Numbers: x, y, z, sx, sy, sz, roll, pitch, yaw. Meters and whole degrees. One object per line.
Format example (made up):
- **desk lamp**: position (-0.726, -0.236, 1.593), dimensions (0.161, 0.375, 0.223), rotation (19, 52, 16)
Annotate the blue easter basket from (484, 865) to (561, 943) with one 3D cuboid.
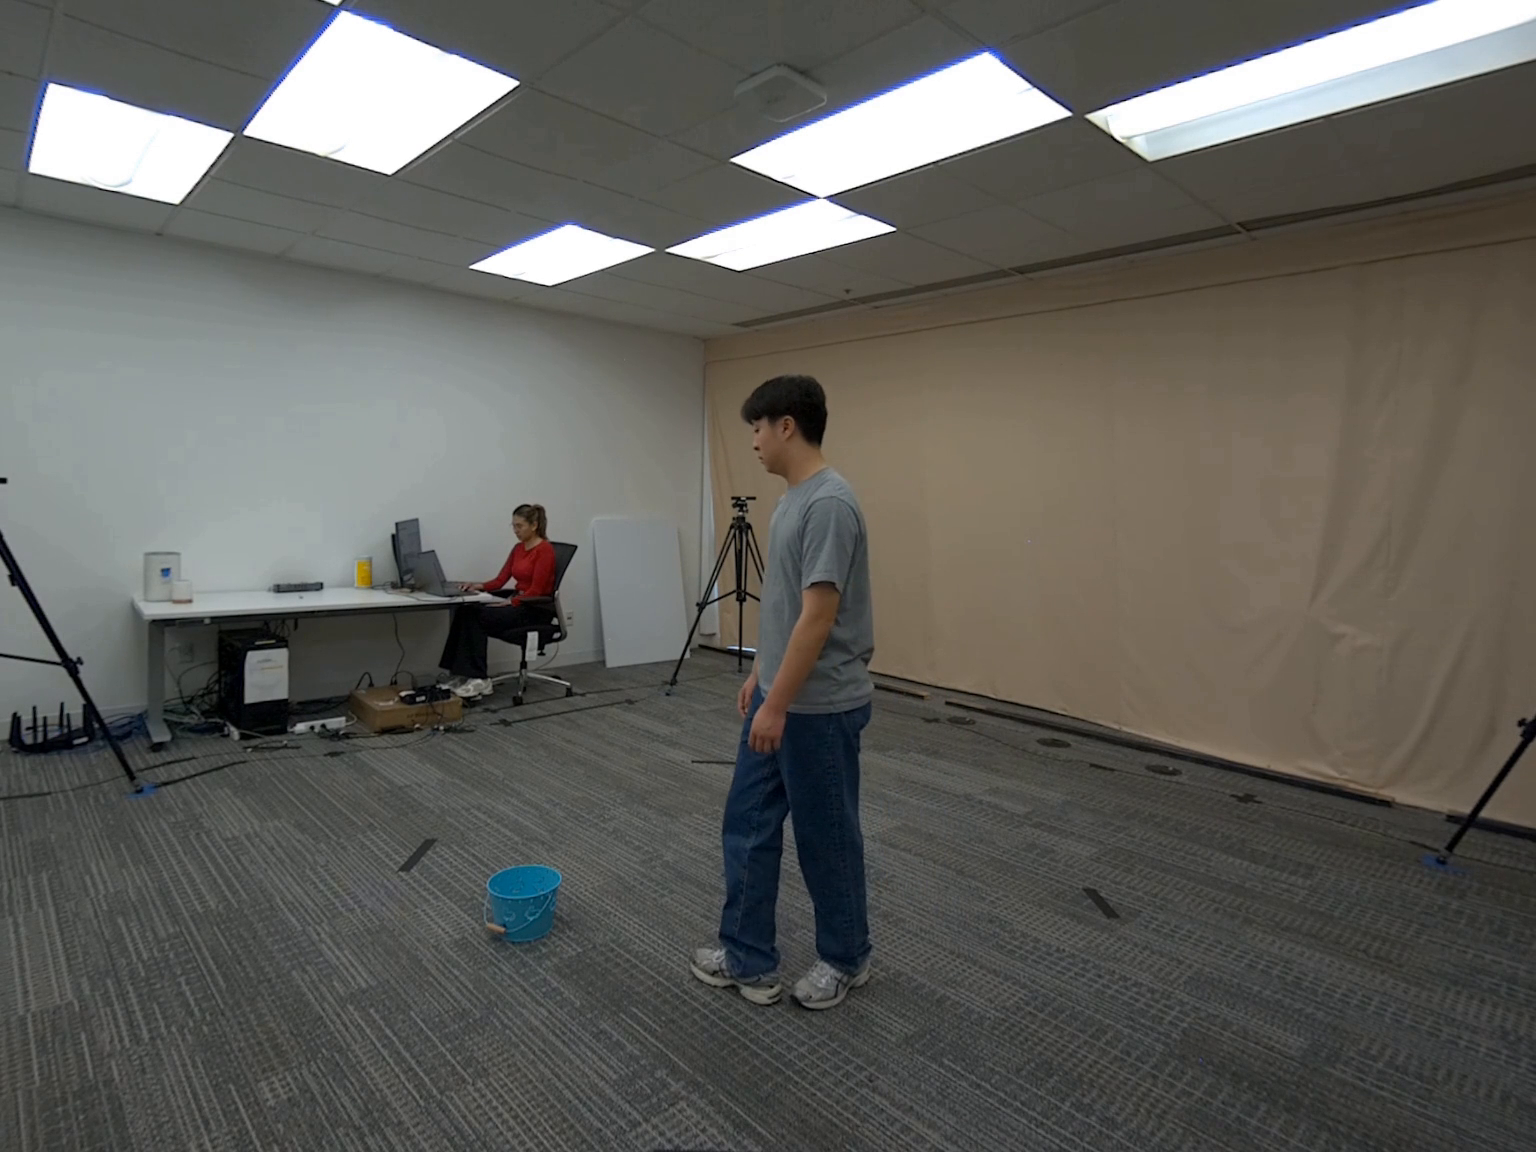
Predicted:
- **blue easter basket**: position (-0.793, 1.051, 2.695), dimensions (0.243, 0.155, 0.244), rotation (2, 5, -1)
